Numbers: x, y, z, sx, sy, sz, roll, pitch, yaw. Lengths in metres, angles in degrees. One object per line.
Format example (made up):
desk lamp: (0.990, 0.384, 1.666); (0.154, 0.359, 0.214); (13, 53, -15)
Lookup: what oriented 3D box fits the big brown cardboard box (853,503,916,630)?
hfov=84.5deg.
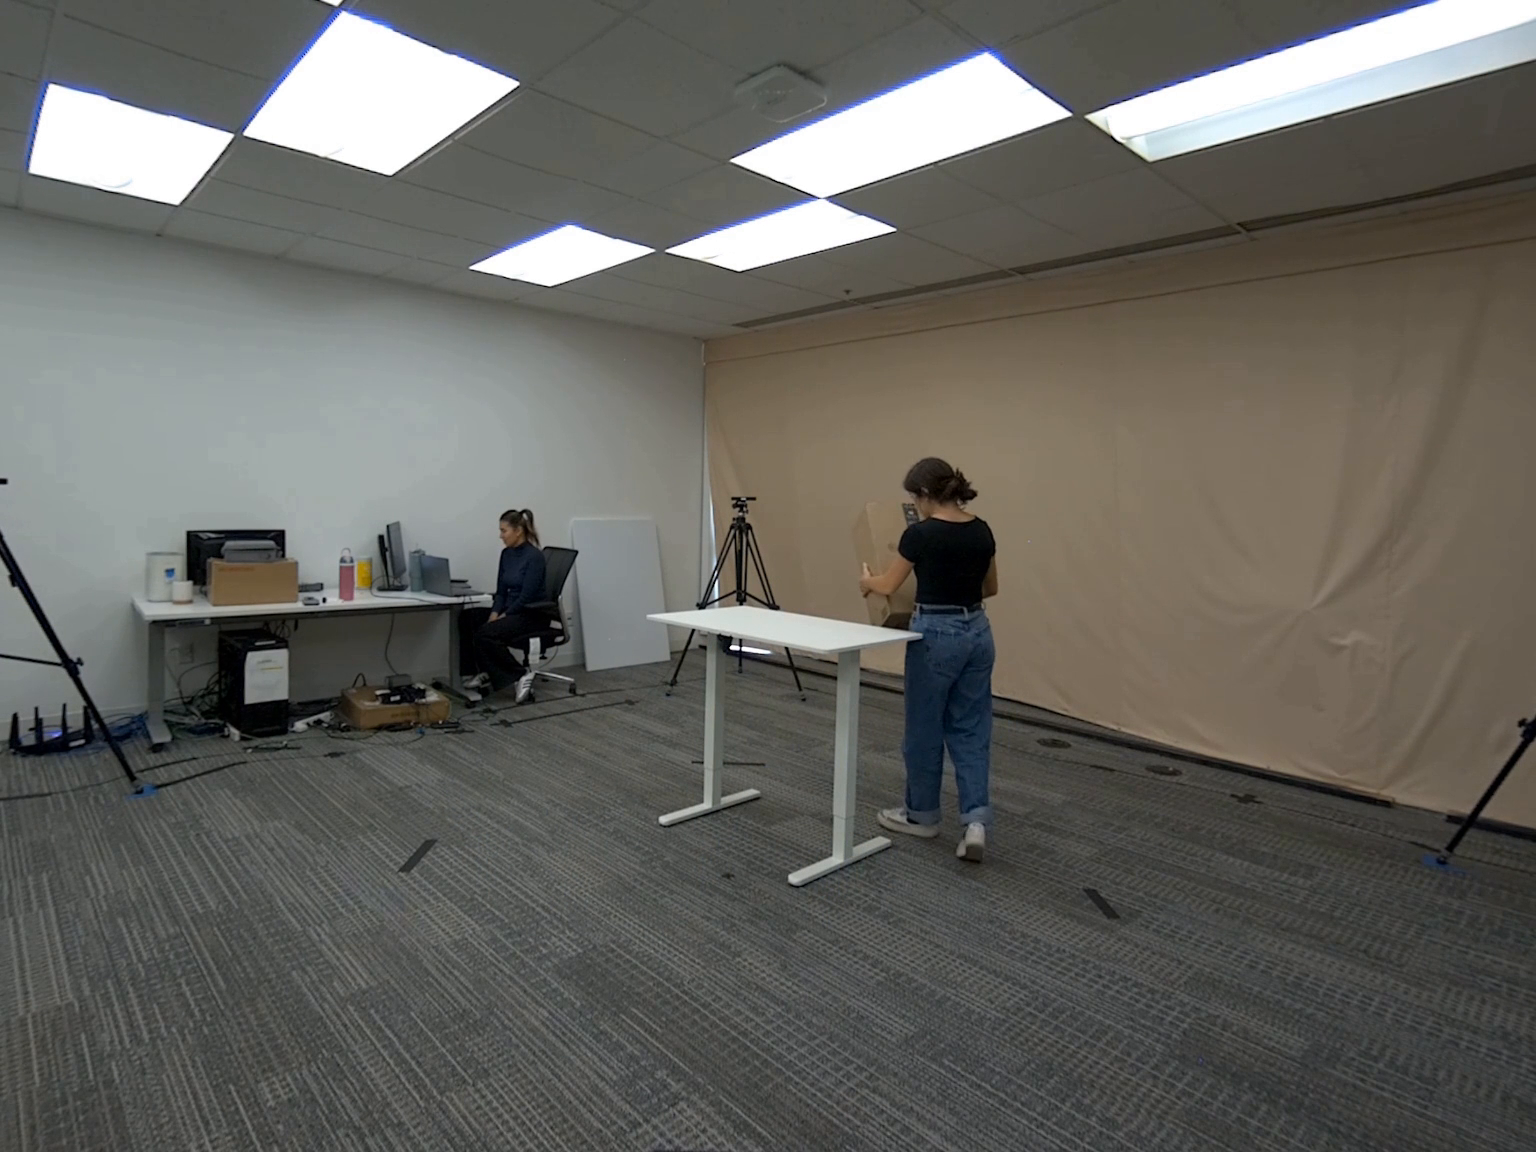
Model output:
big brown cardboard box: (0.657, -0.040, 3.780); (0.414, 0.602, 0.230); (0, -32, -11)
